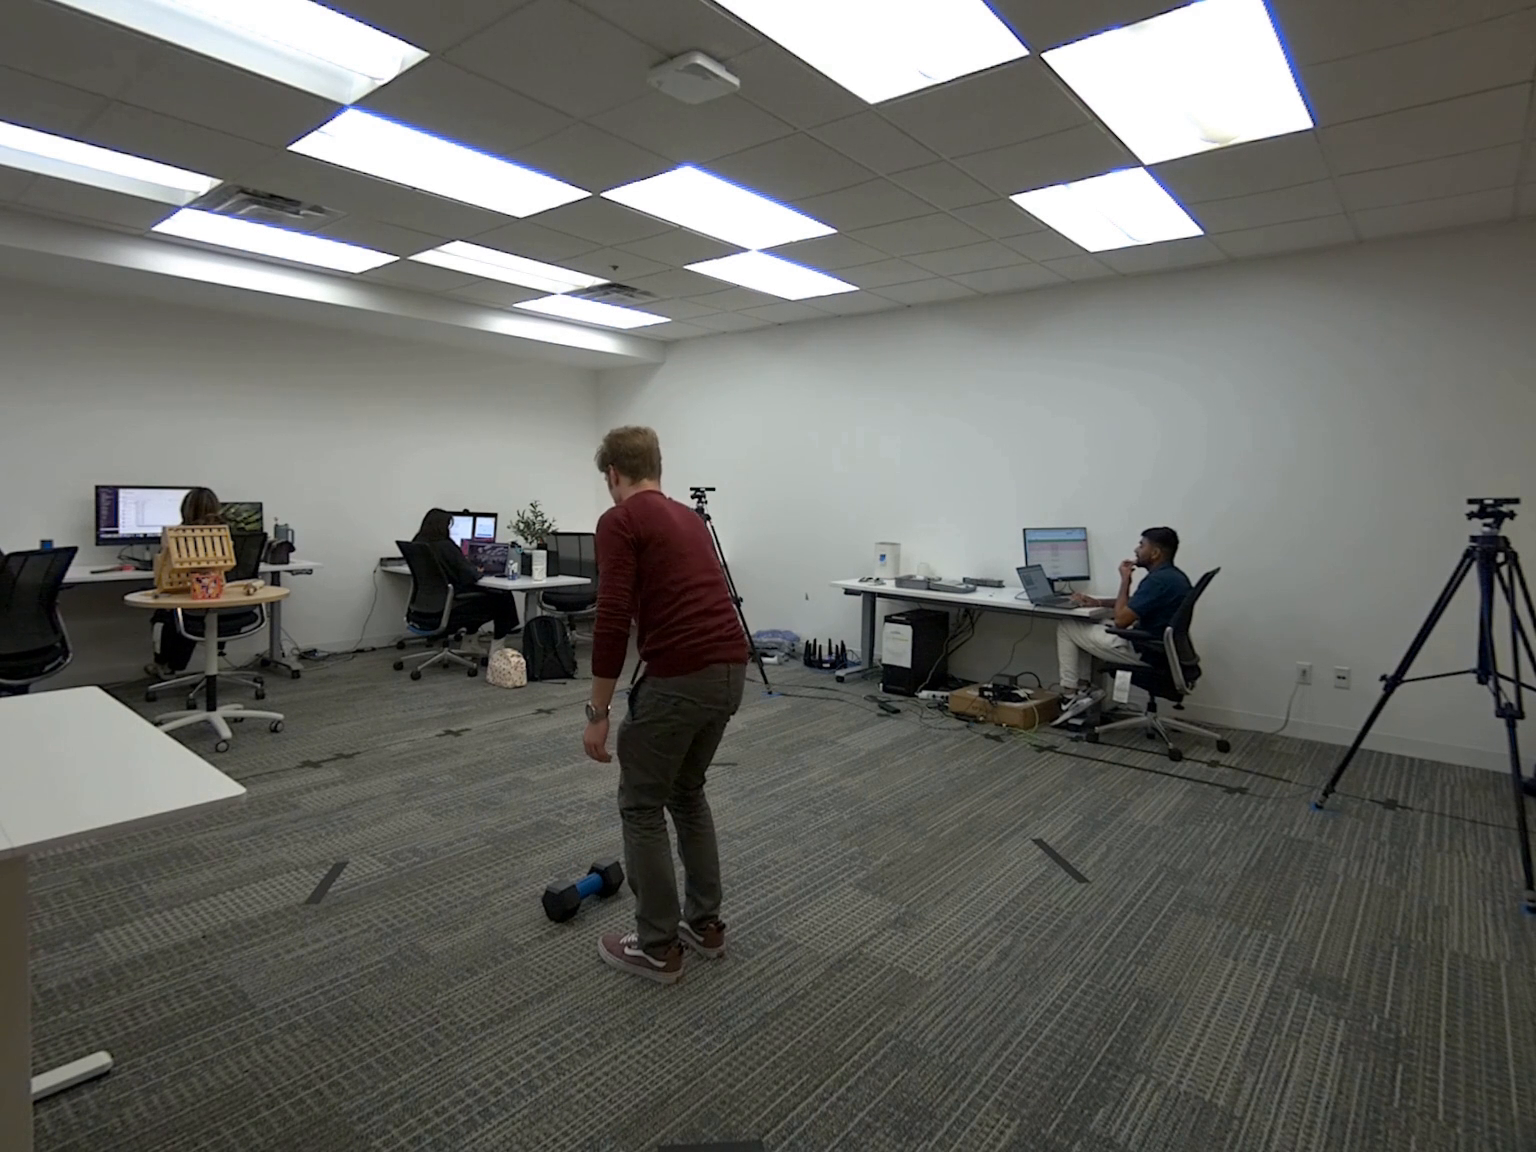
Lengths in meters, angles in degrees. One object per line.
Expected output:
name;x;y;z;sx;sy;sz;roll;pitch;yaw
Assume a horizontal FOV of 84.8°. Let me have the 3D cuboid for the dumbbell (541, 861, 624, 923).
dumbbell;-0.618;1.032;2.822;0.112;0.122;0.286;36;22;25
